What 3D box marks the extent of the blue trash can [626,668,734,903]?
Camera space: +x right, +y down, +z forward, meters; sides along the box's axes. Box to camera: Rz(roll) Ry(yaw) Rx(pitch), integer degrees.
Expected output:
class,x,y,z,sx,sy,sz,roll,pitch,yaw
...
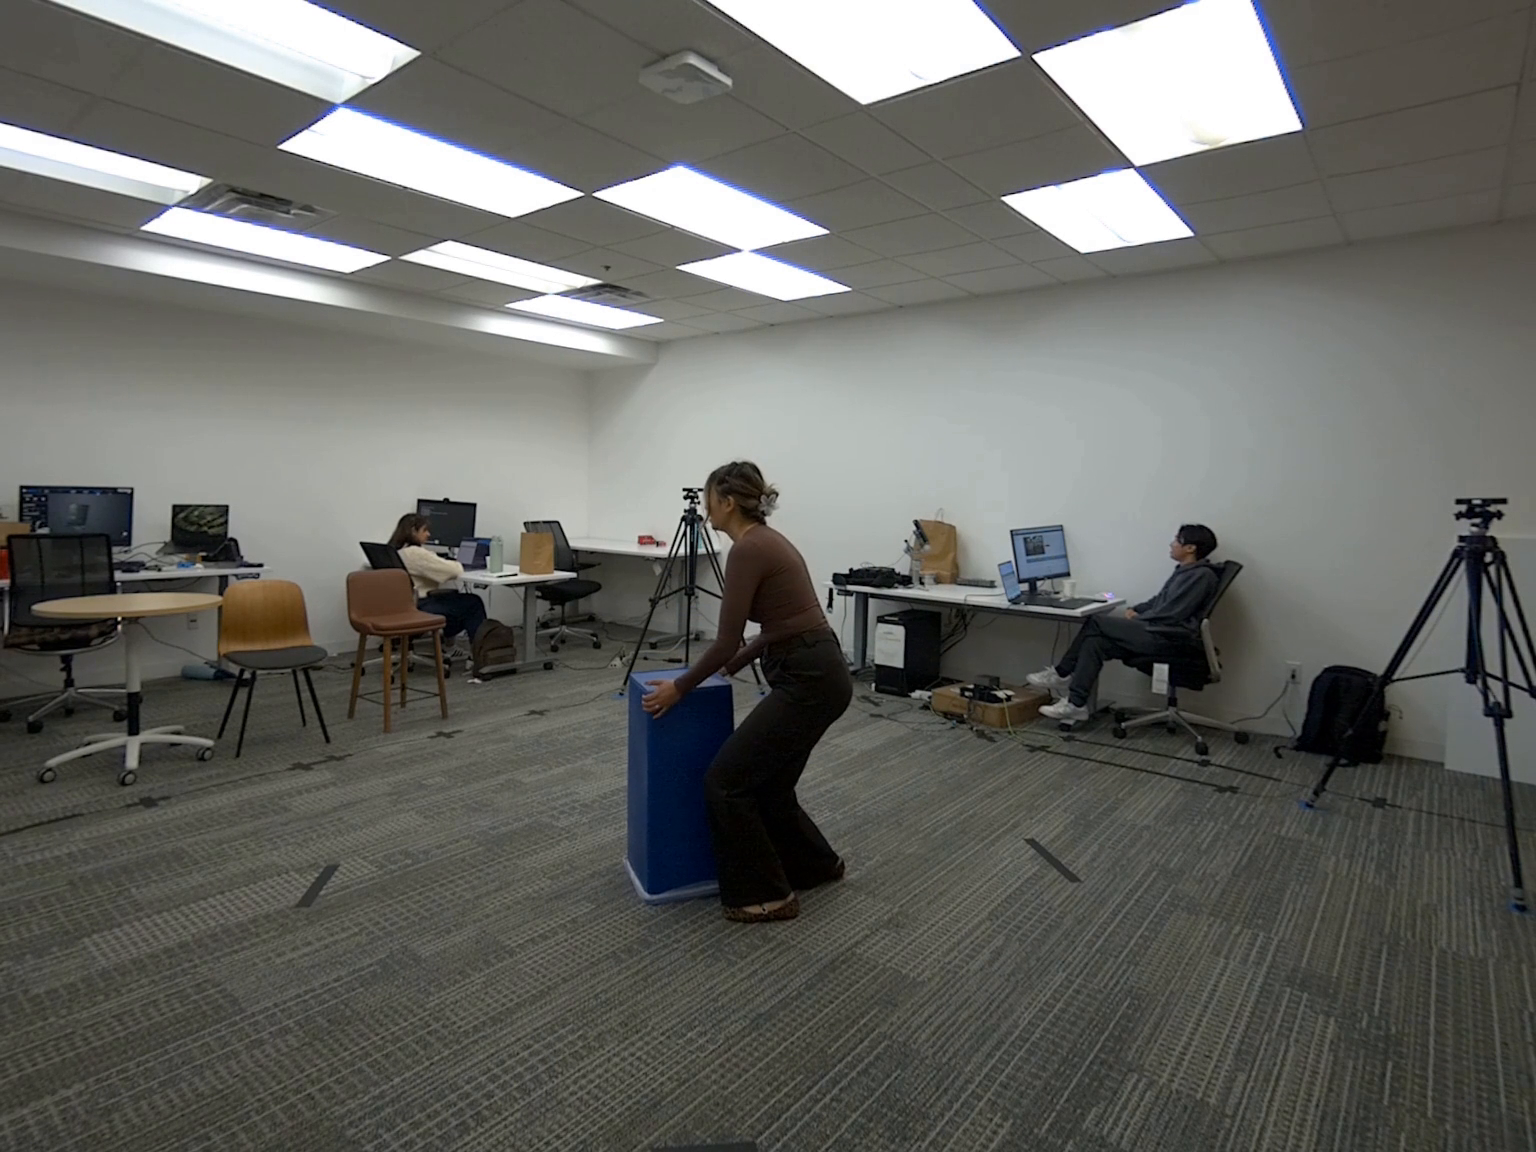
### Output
class,x,y,z,sx,sy,sz,roll,pitch,yaw
blue trash can,-0.322,0.714,3.025,0.371,0.710,0.383,-2,5,-21
